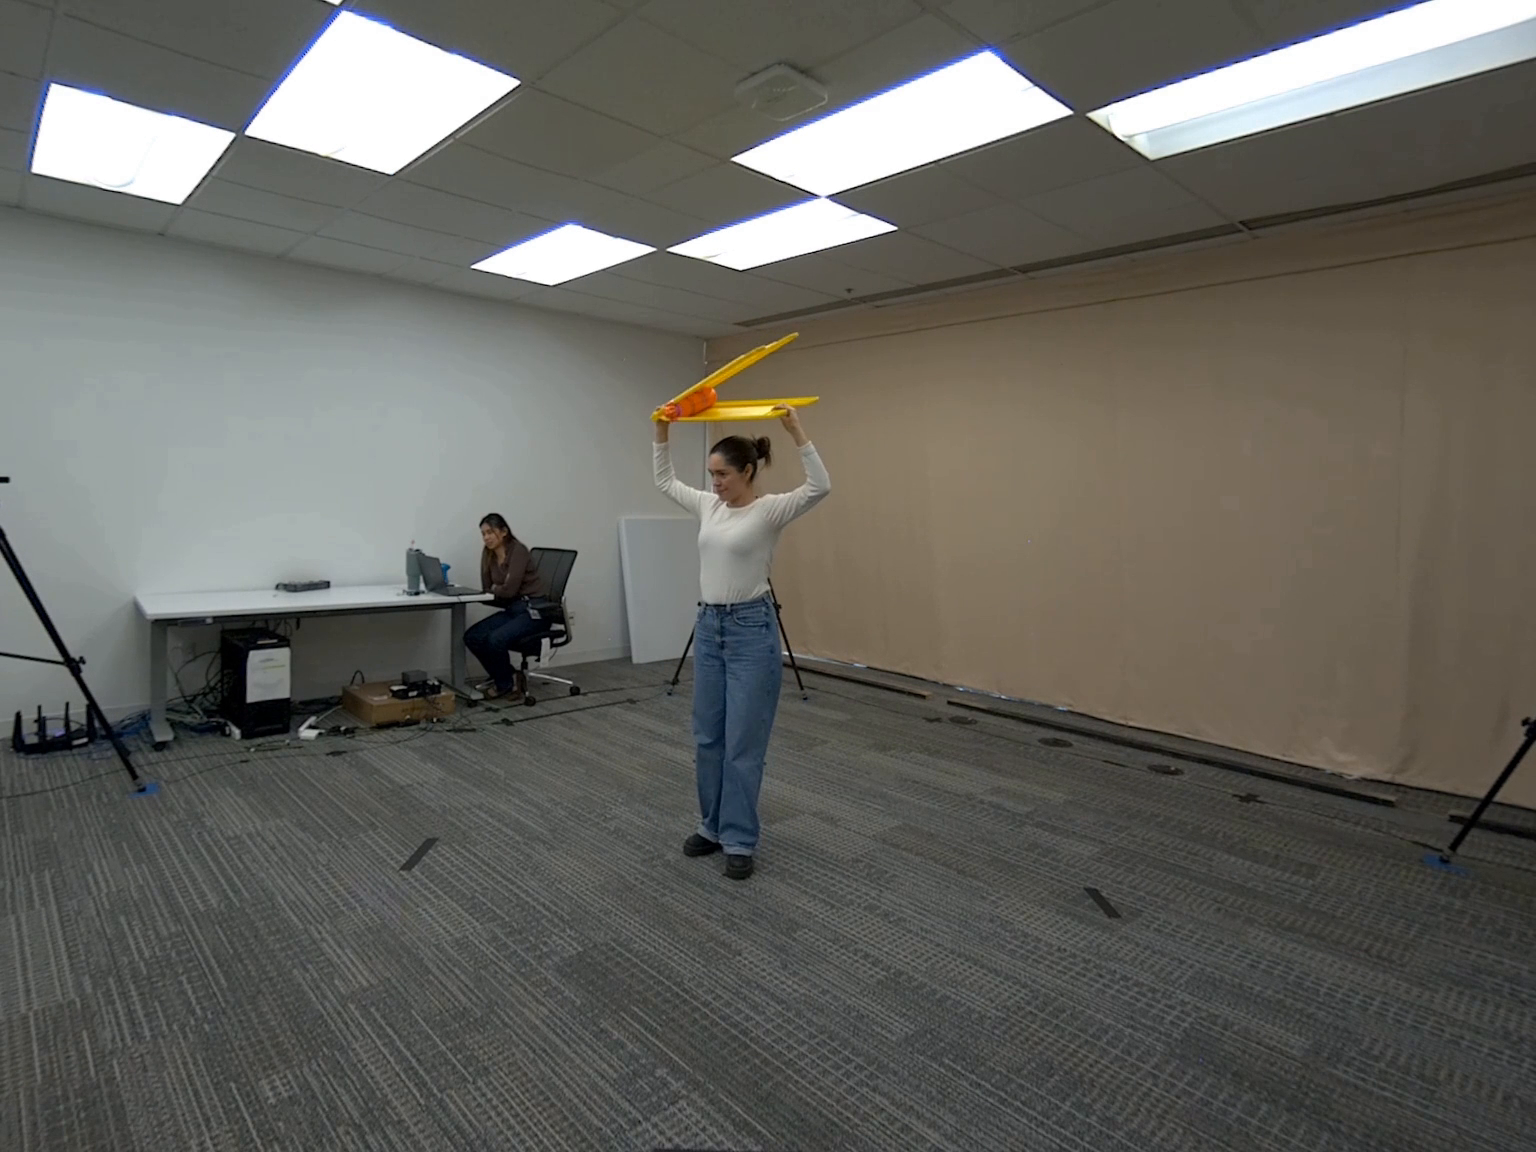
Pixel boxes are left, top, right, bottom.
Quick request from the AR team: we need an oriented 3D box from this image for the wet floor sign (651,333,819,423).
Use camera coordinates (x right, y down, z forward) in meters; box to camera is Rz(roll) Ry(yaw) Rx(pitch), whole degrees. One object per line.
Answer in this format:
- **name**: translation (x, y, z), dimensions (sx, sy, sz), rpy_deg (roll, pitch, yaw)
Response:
- **wet floor sign**: translation (-0.181, -0.688, 3.189), dimensions (0.660, 0.286, 0.280), rpy_deg (-5, 20, 41)
